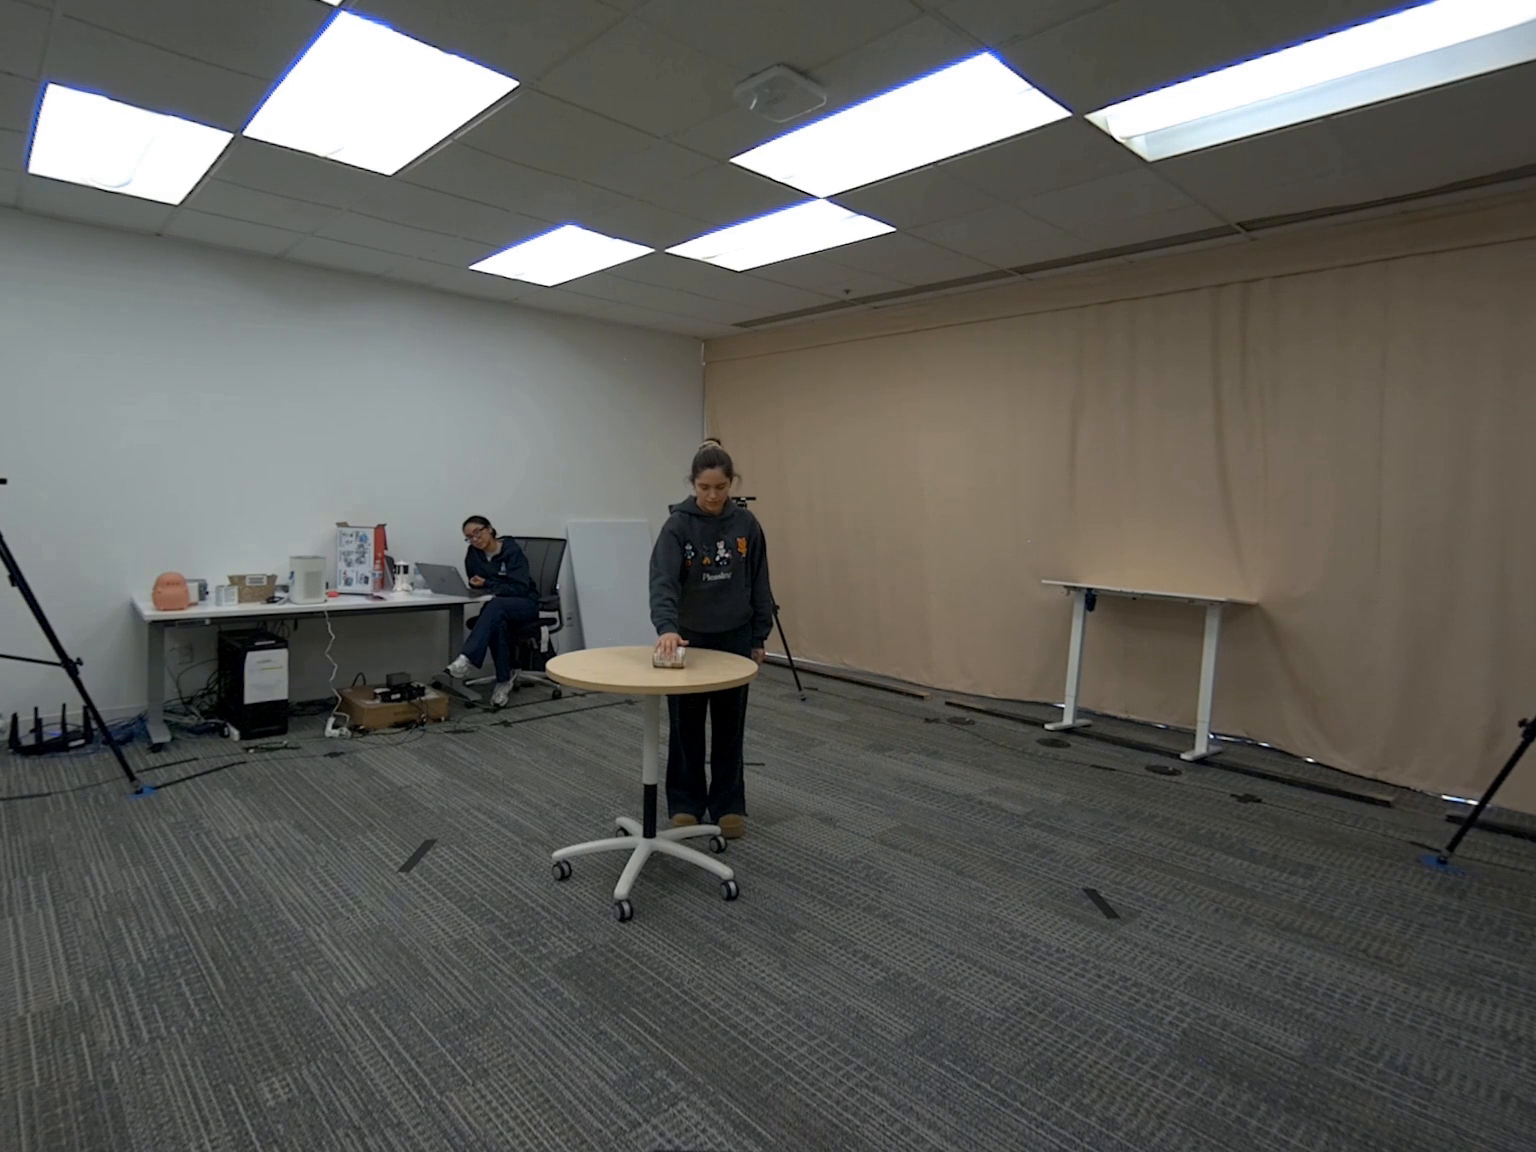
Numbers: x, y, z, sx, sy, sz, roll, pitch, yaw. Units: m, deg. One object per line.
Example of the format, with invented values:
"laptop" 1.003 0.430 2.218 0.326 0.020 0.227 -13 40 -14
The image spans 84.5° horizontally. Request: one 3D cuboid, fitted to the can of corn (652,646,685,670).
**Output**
"can of corn" -0.369 0.290 3.021 0.112 0.074 0.074 3 5 8
